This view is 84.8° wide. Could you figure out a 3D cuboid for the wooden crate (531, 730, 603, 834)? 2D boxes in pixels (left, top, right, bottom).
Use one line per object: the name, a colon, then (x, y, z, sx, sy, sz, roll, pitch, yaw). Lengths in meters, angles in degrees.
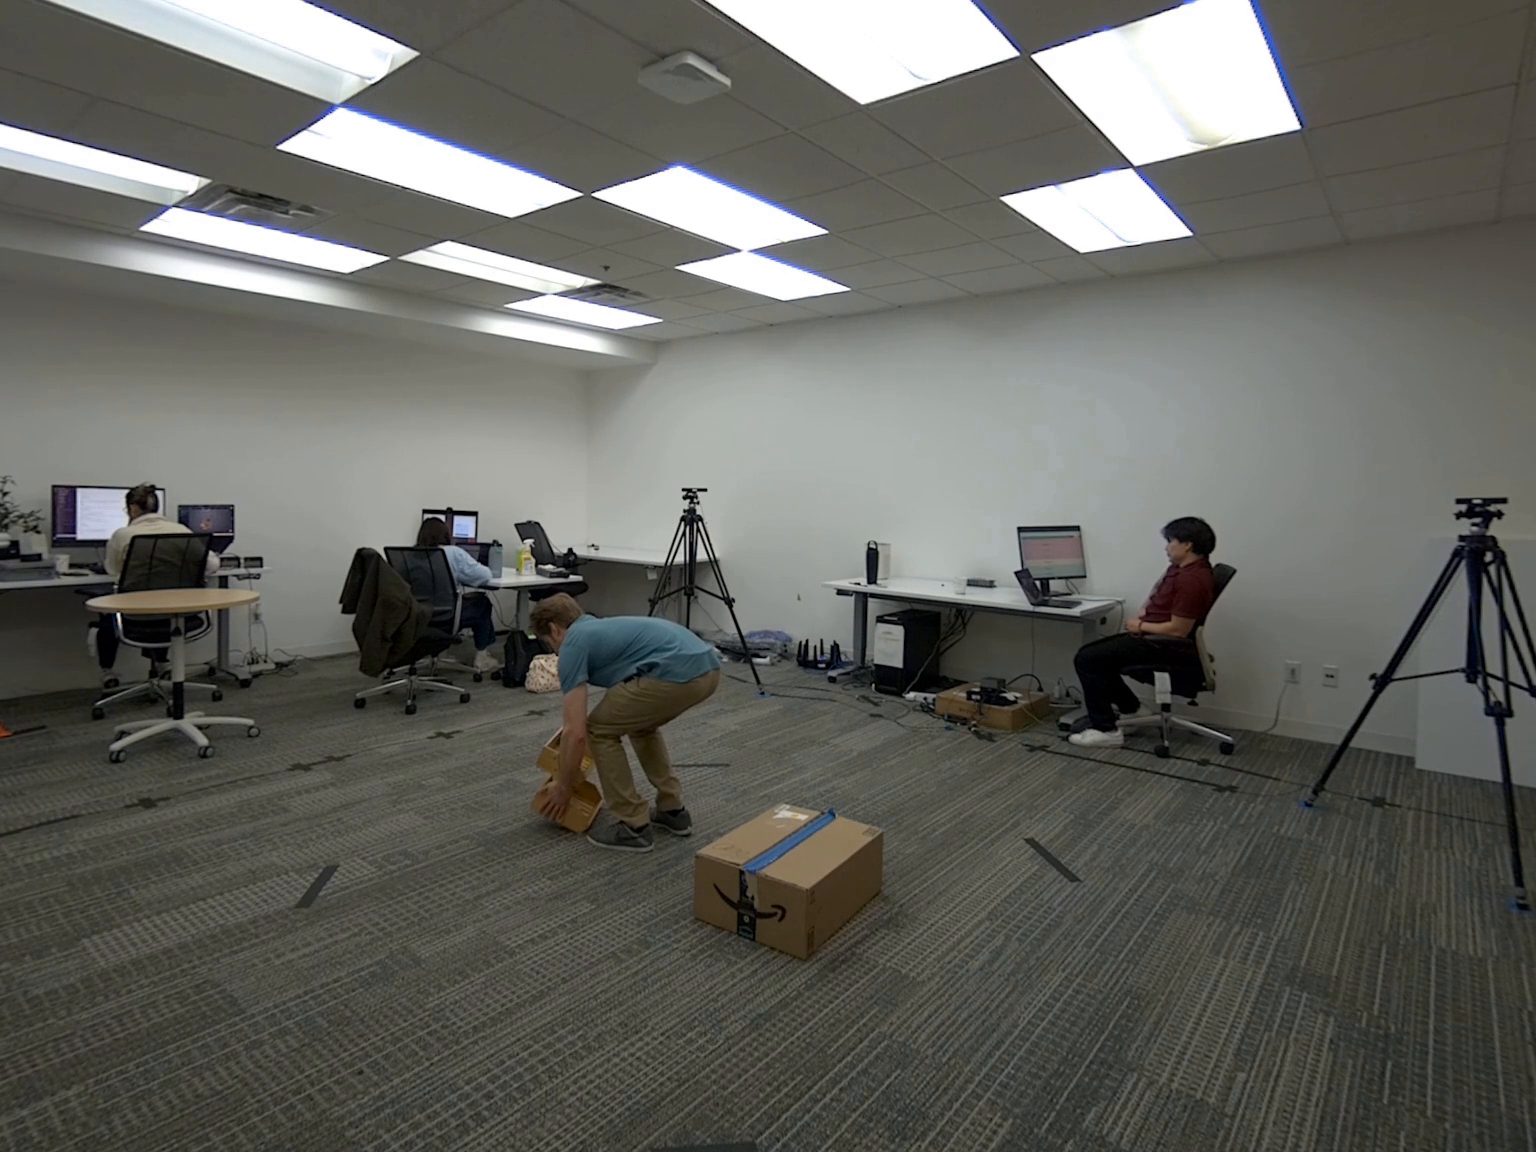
wooden crate: (-0.821, 0.846, 3.563, 0.303, 0.273, 0.325, 23, 4, 0)
